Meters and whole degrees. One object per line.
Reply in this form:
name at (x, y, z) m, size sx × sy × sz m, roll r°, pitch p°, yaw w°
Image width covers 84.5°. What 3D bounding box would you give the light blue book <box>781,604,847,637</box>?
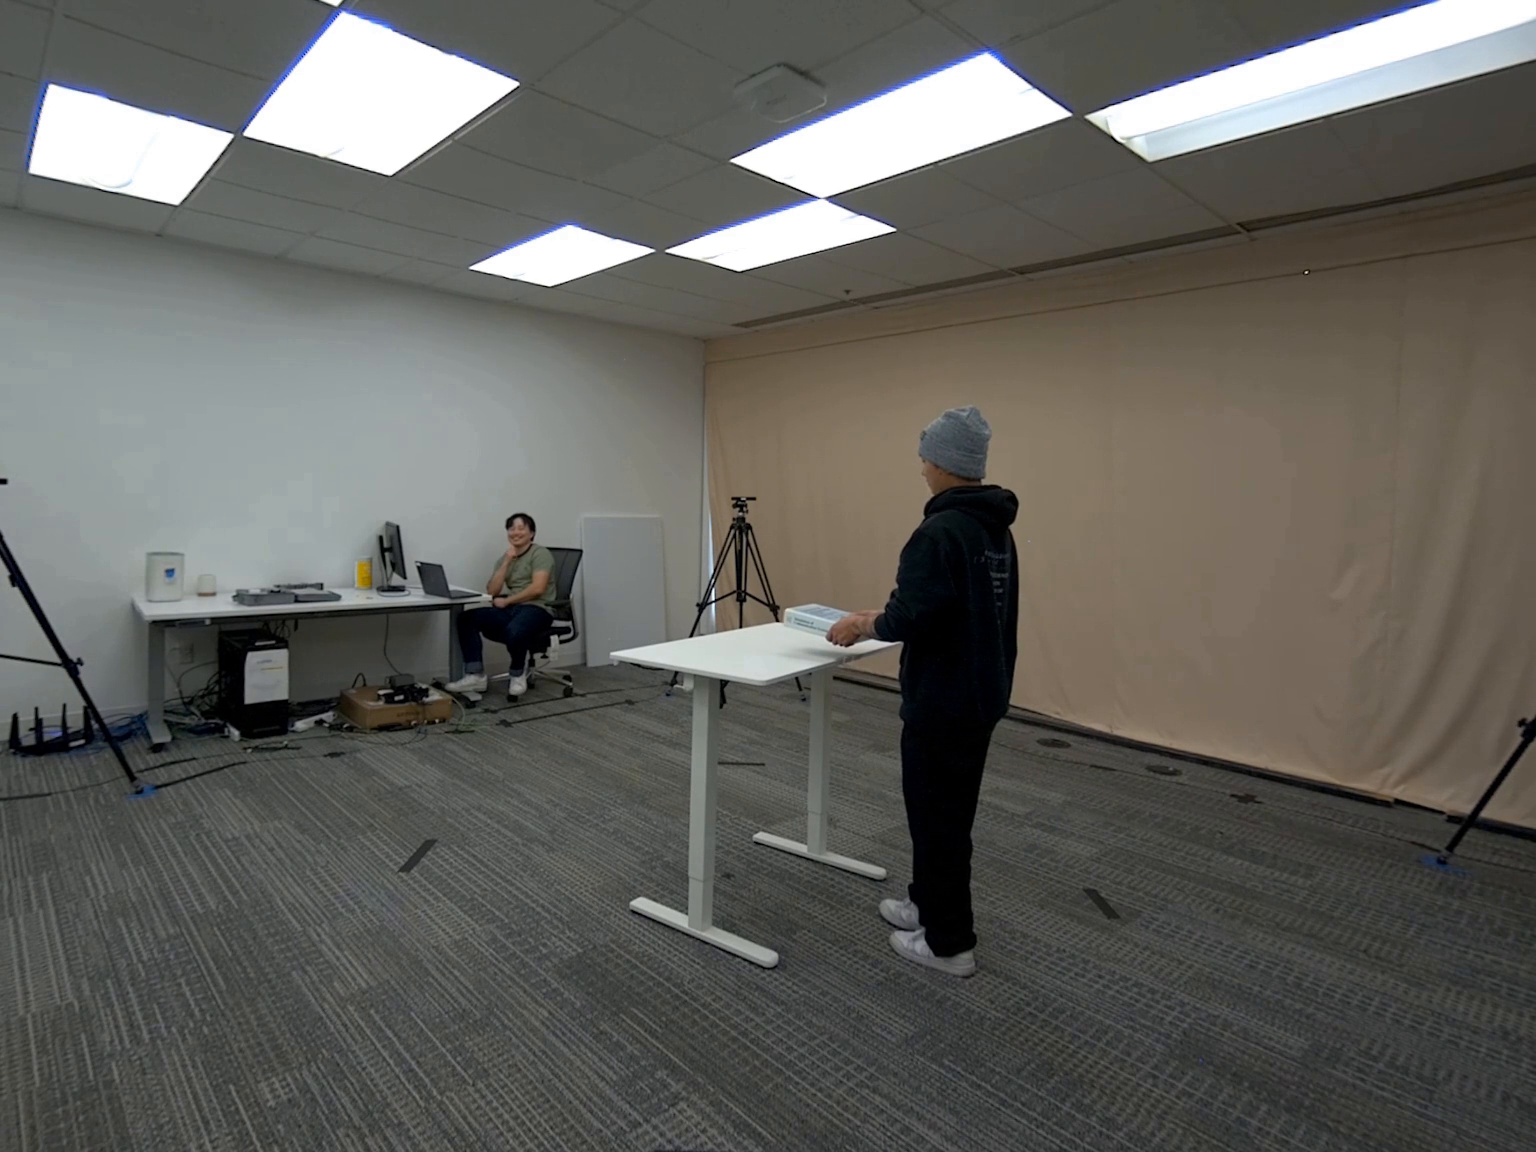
light blue book at (0.193, 0.159, 2.797) m, size 0.267 × 0.058 × 0.188 m, roll 12°, pitch 12°, yaw 26°
